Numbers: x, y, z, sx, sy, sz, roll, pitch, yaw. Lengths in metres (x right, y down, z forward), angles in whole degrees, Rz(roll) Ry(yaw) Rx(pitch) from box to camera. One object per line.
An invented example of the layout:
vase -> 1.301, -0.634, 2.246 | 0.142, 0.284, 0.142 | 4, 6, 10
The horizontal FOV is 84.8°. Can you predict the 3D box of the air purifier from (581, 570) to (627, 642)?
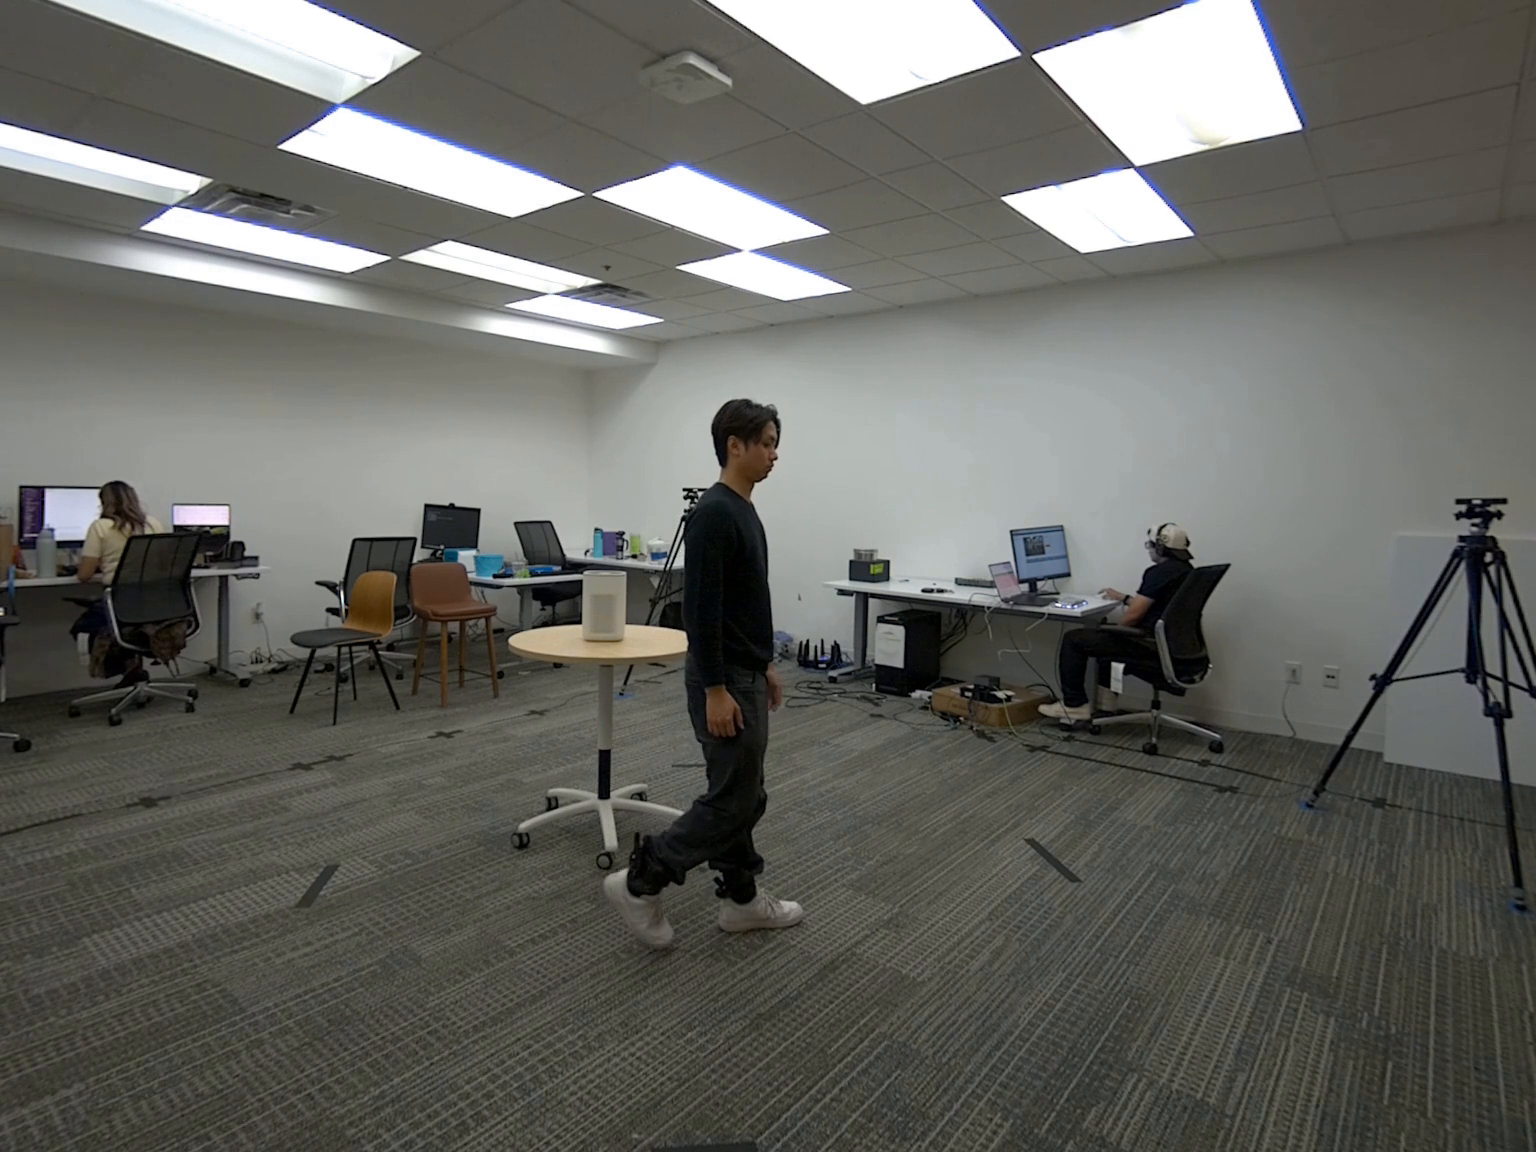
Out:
air purifier -> -0.676, 0.114, 3.412 | 0.171, 0.264, 0.172 | 1, 4, -5
